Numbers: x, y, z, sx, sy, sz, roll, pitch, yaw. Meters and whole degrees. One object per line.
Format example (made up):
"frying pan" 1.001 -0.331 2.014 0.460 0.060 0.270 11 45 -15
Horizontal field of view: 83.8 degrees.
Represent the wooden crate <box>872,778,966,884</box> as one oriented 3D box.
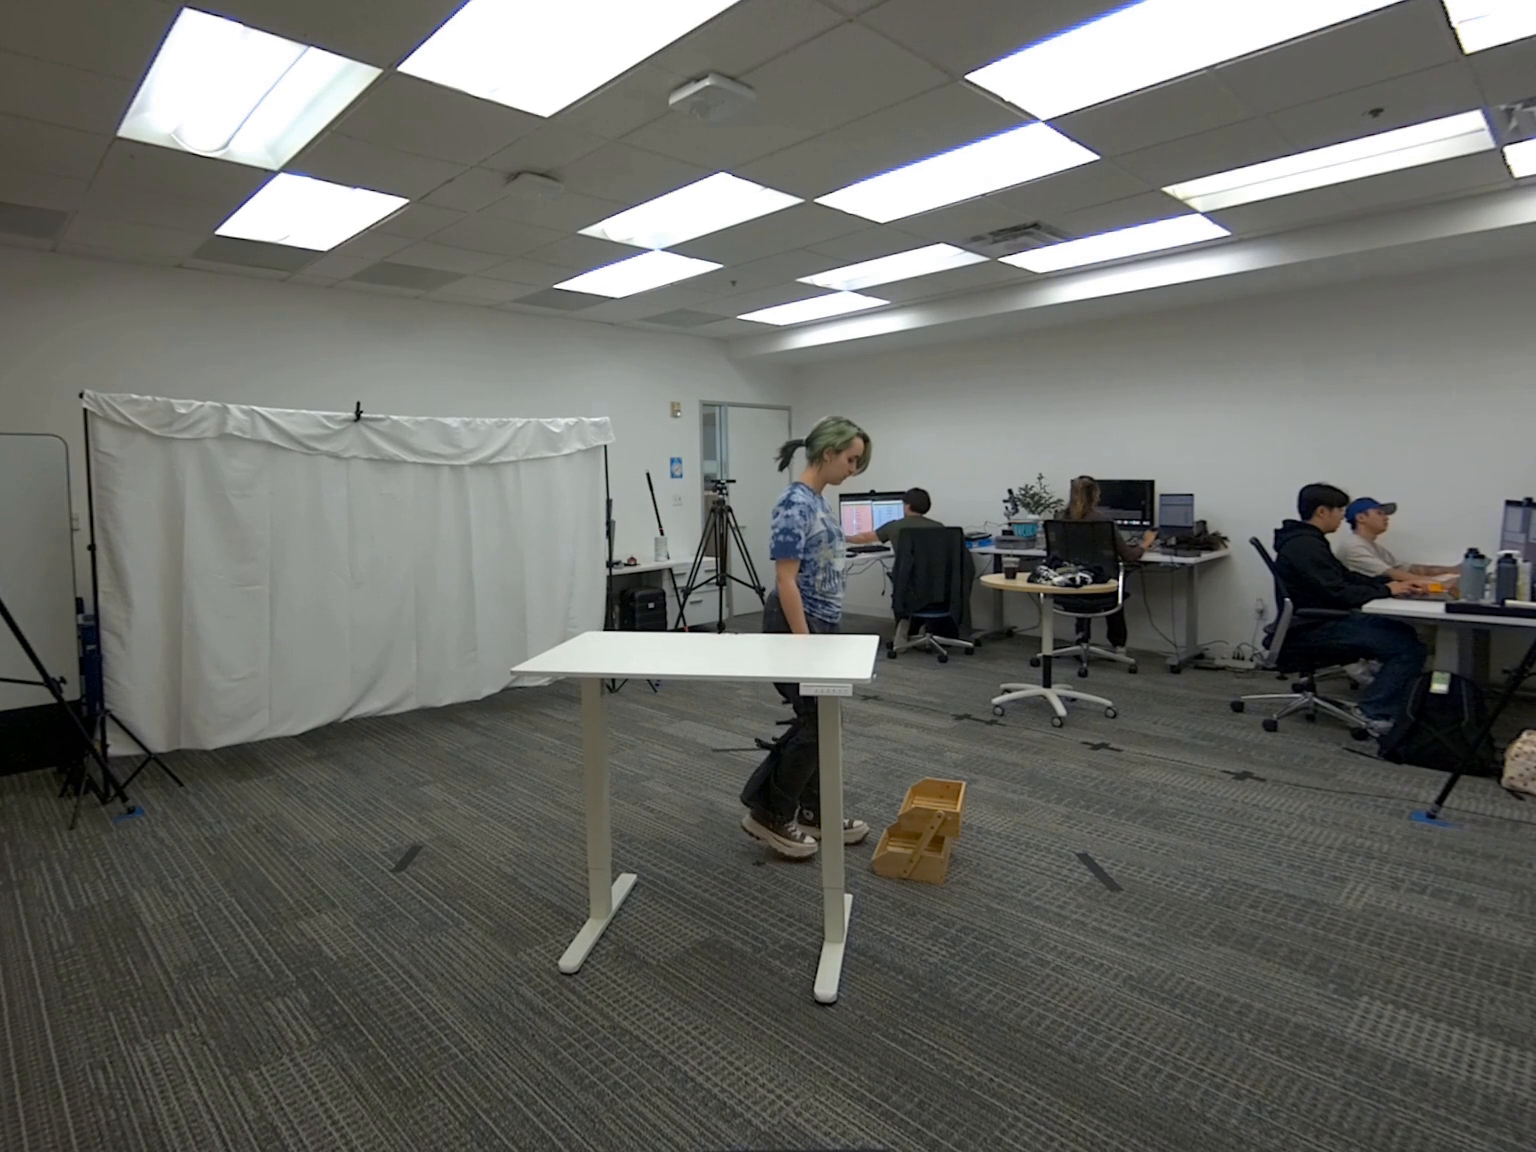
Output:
"wooden crate" 0.553 0.906 3.088 0.307 0.272 0.320 1 5 18
